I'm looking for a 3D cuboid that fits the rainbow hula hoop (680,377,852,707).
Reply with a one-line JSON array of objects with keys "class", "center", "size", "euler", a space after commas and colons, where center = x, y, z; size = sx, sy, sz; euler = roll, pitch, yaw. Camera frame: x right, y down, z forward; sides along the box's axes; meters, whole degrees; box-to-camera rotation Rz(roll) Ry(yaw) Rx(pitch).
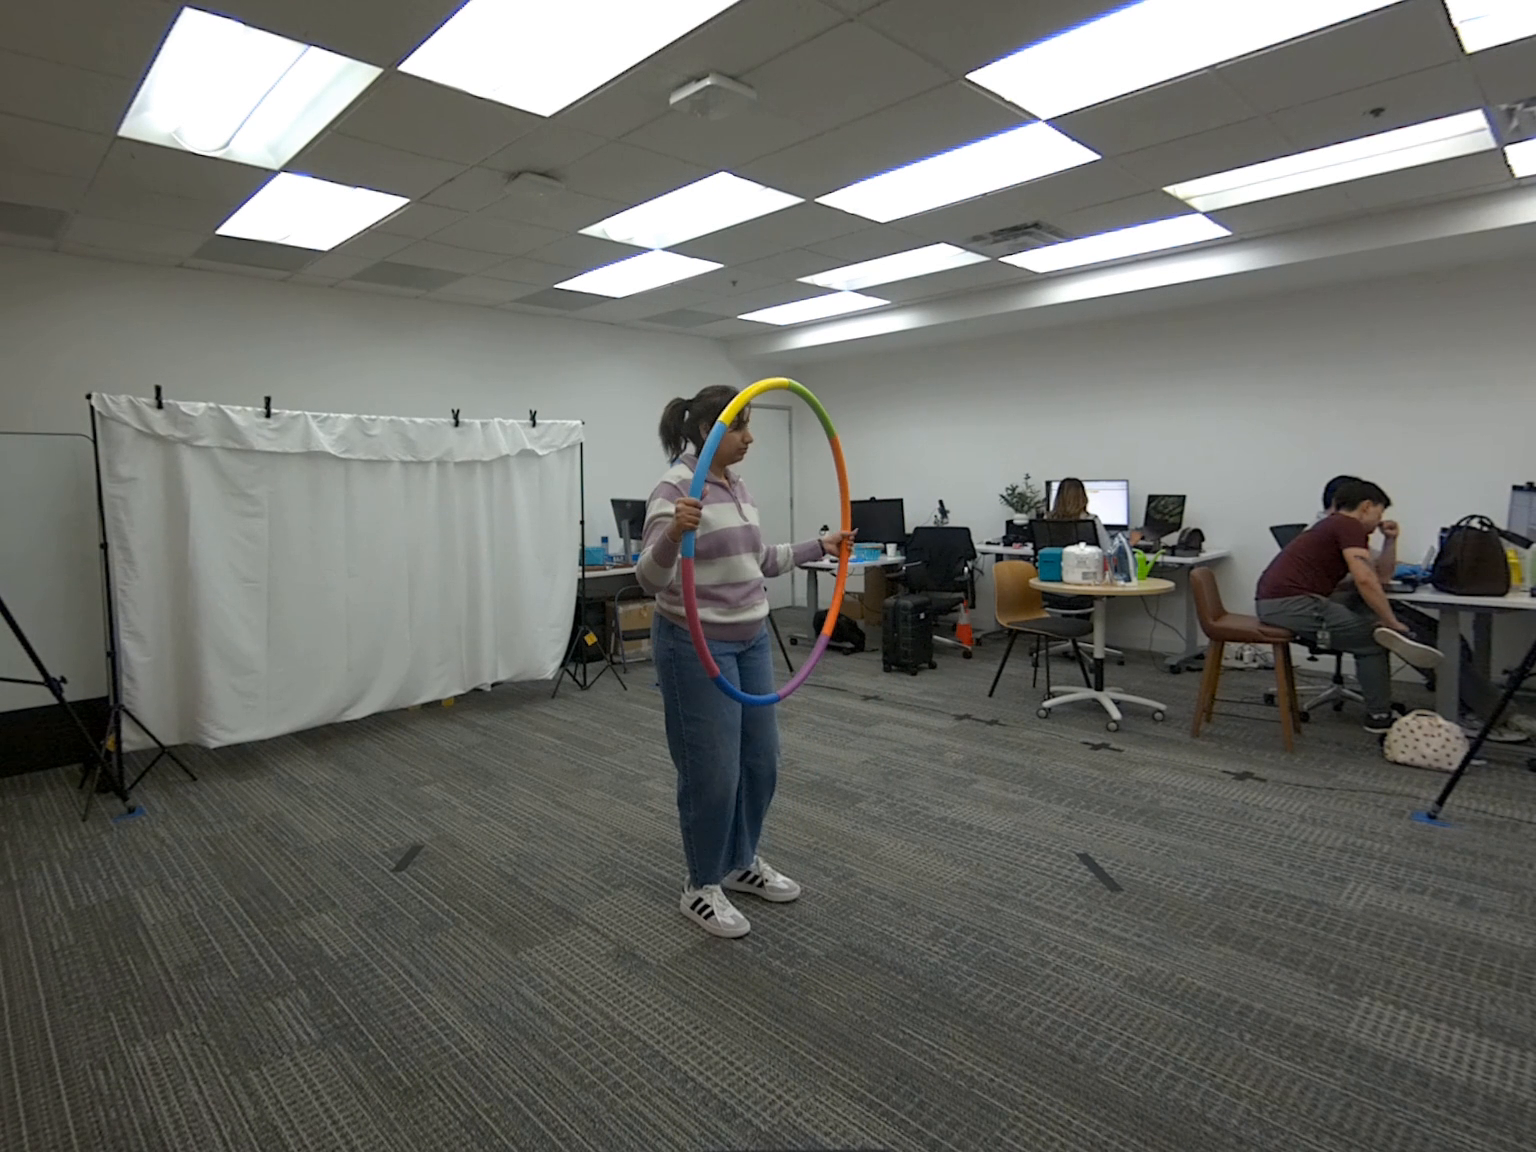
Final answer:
[{"class": "rainbow hula hoop", "center": [0.039, -0.103, 2.596], "size": [0.036, 0.974, 0.957], "euler": [3, 6, 30]}]
